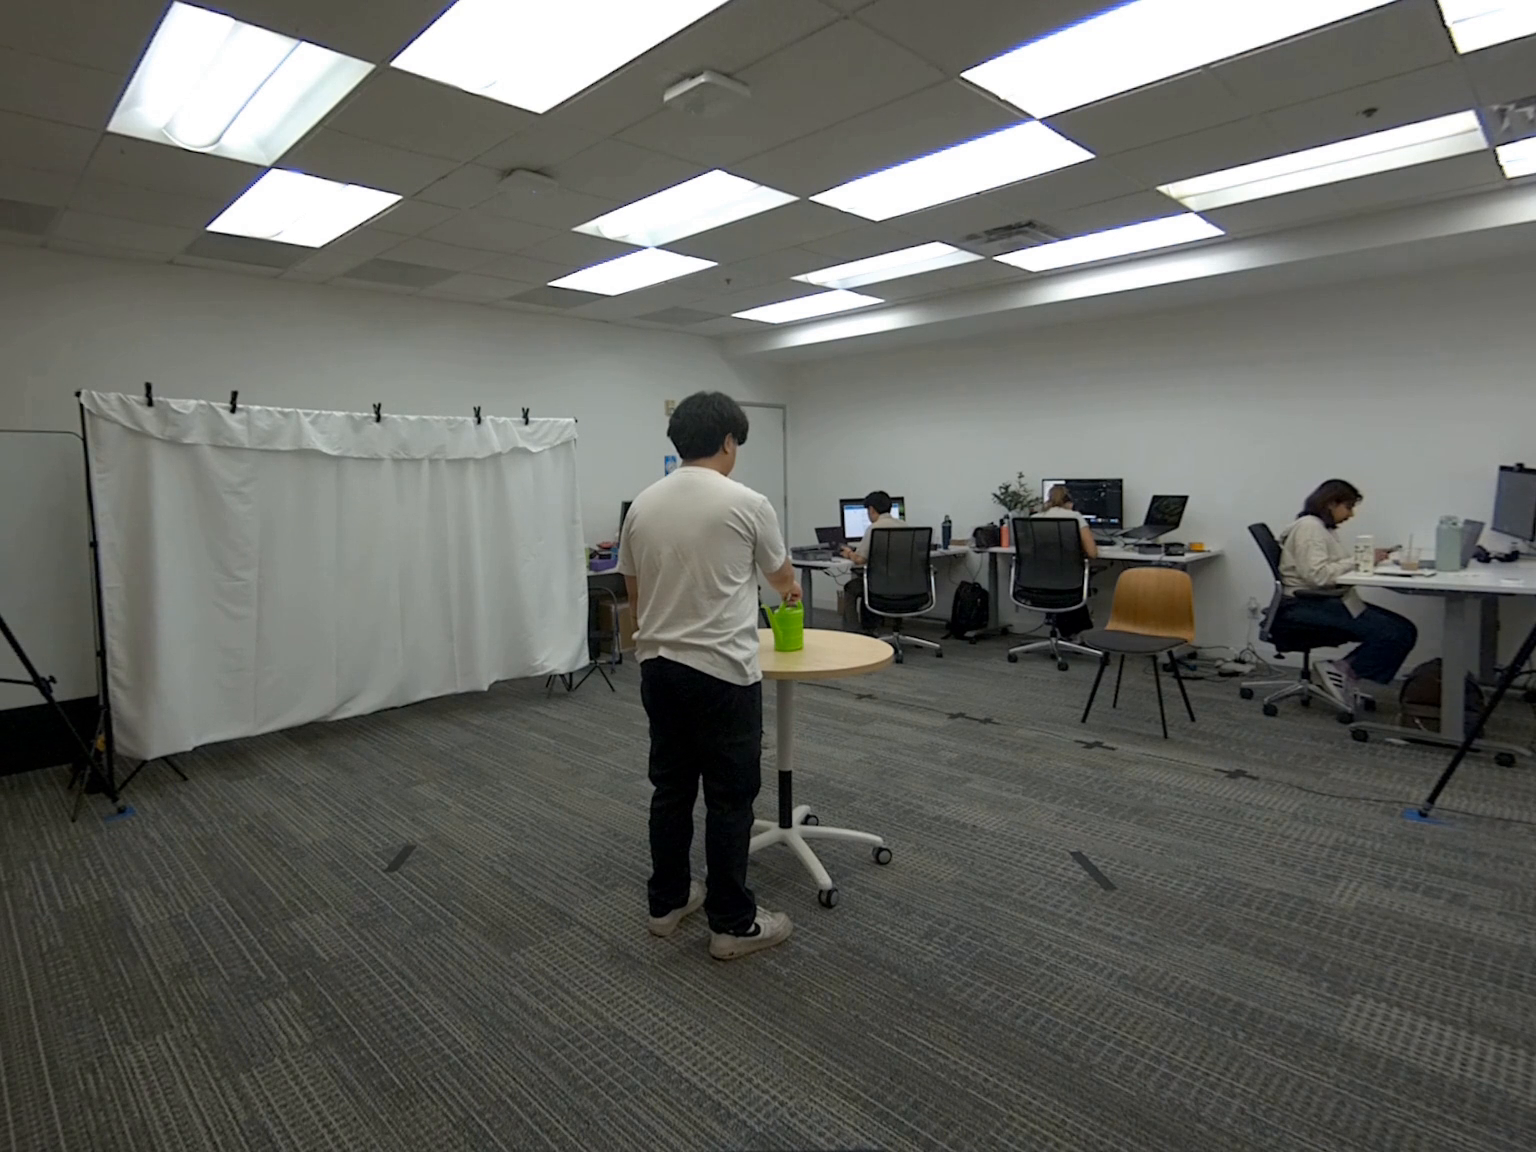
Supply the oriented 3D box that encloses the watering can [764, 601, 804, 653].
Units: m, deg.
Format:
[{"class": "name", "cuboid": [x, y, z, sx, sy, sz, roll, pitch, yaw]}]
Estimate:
[{"class": "watering can", "cuboid": [0.057, 0.171, 2.991, 0.101, 0.176, 0.271, 3, 4, 39]}]
